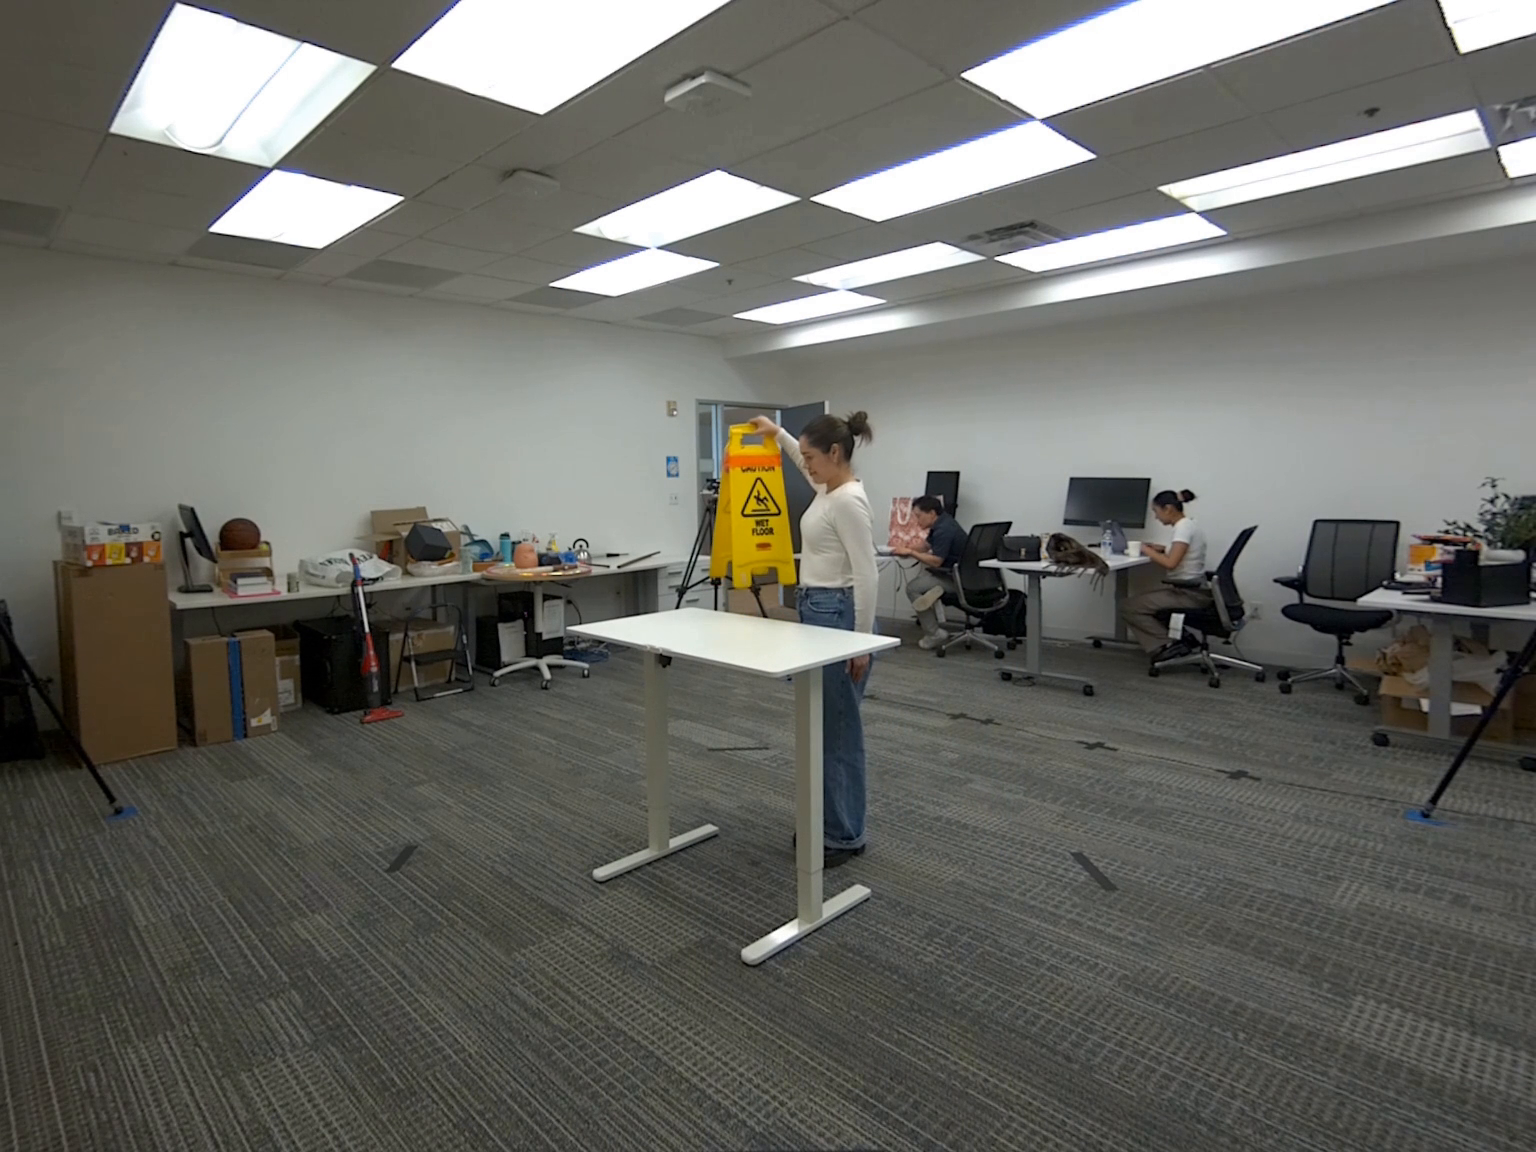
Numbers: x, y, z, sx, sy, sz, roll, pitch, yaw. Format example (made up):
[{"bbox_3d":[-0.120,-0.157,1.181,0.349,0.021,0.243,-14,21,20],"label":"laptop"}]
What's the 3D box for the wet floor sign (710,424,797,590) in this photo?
[{"bbox_3d":[-0.069,-0.295,3.545,0.276,0.642,0.298,-4,8,-25],"label":"wet floor sign"}]
